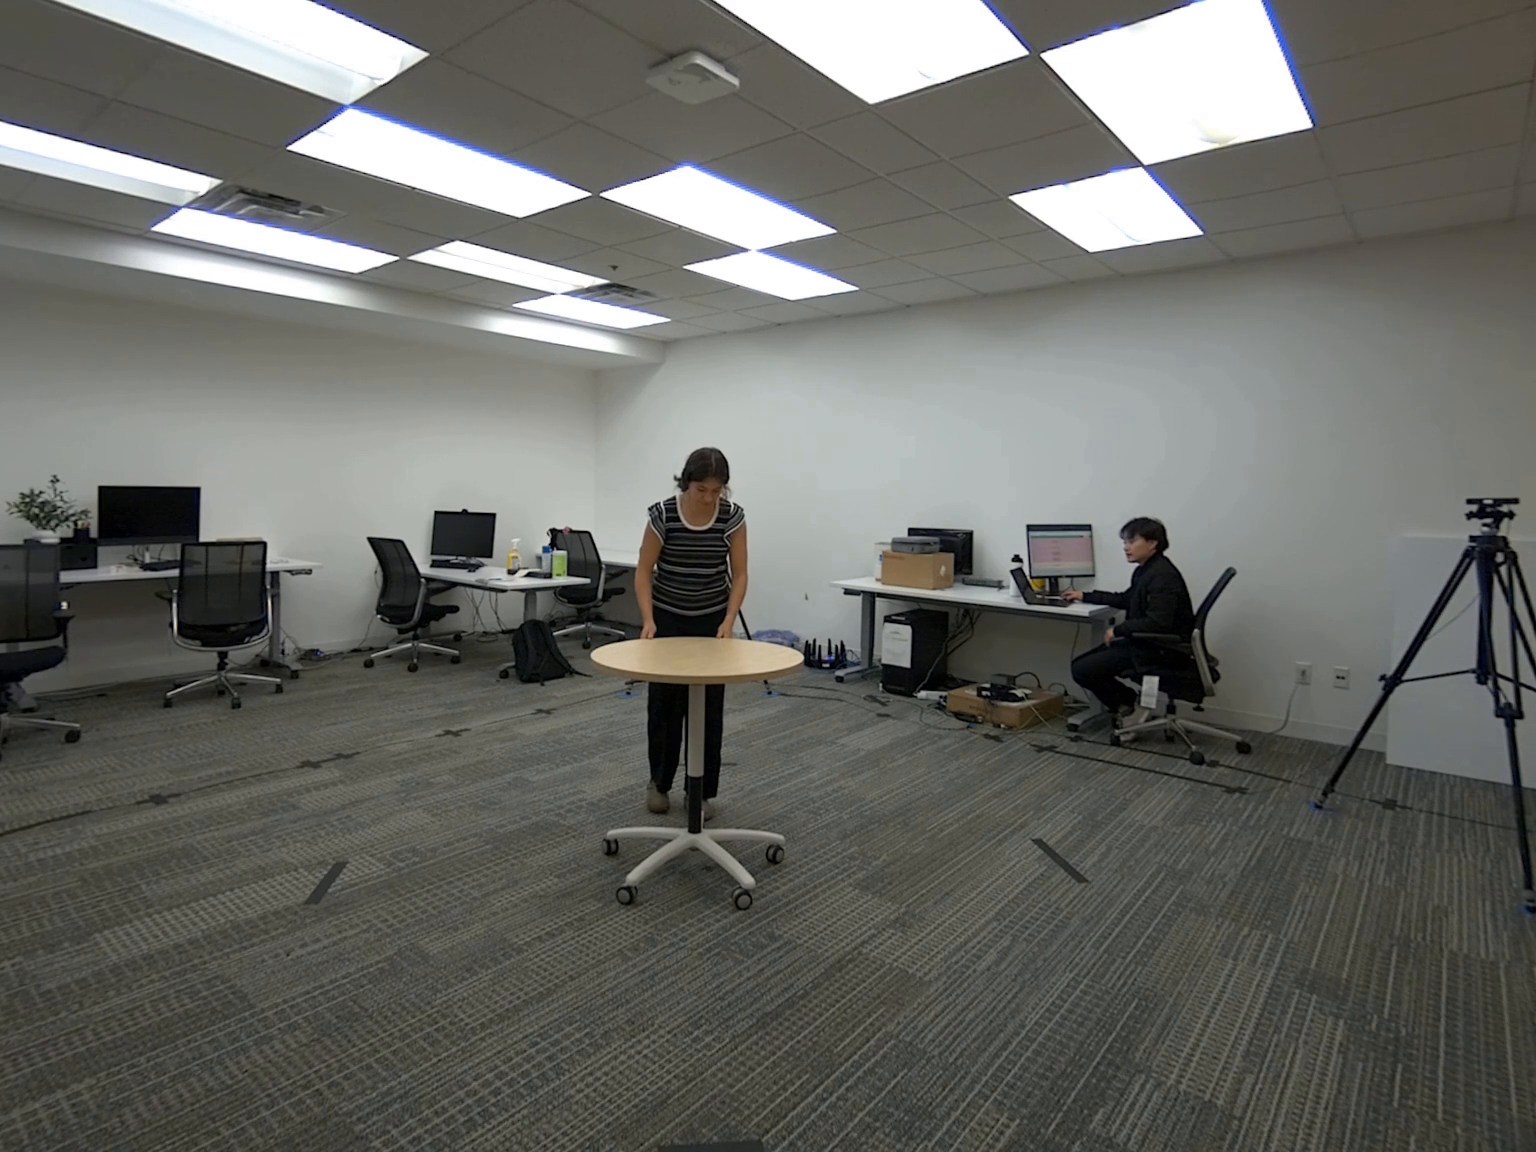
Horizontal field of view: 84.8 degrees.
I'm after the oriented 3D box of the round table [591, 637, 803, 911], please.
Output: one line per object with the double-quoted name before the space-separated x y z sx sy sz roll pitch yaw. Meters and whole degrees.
"round table" -0.274 0.669 3.093 0.784 0.784 0.789 1 4 -2
